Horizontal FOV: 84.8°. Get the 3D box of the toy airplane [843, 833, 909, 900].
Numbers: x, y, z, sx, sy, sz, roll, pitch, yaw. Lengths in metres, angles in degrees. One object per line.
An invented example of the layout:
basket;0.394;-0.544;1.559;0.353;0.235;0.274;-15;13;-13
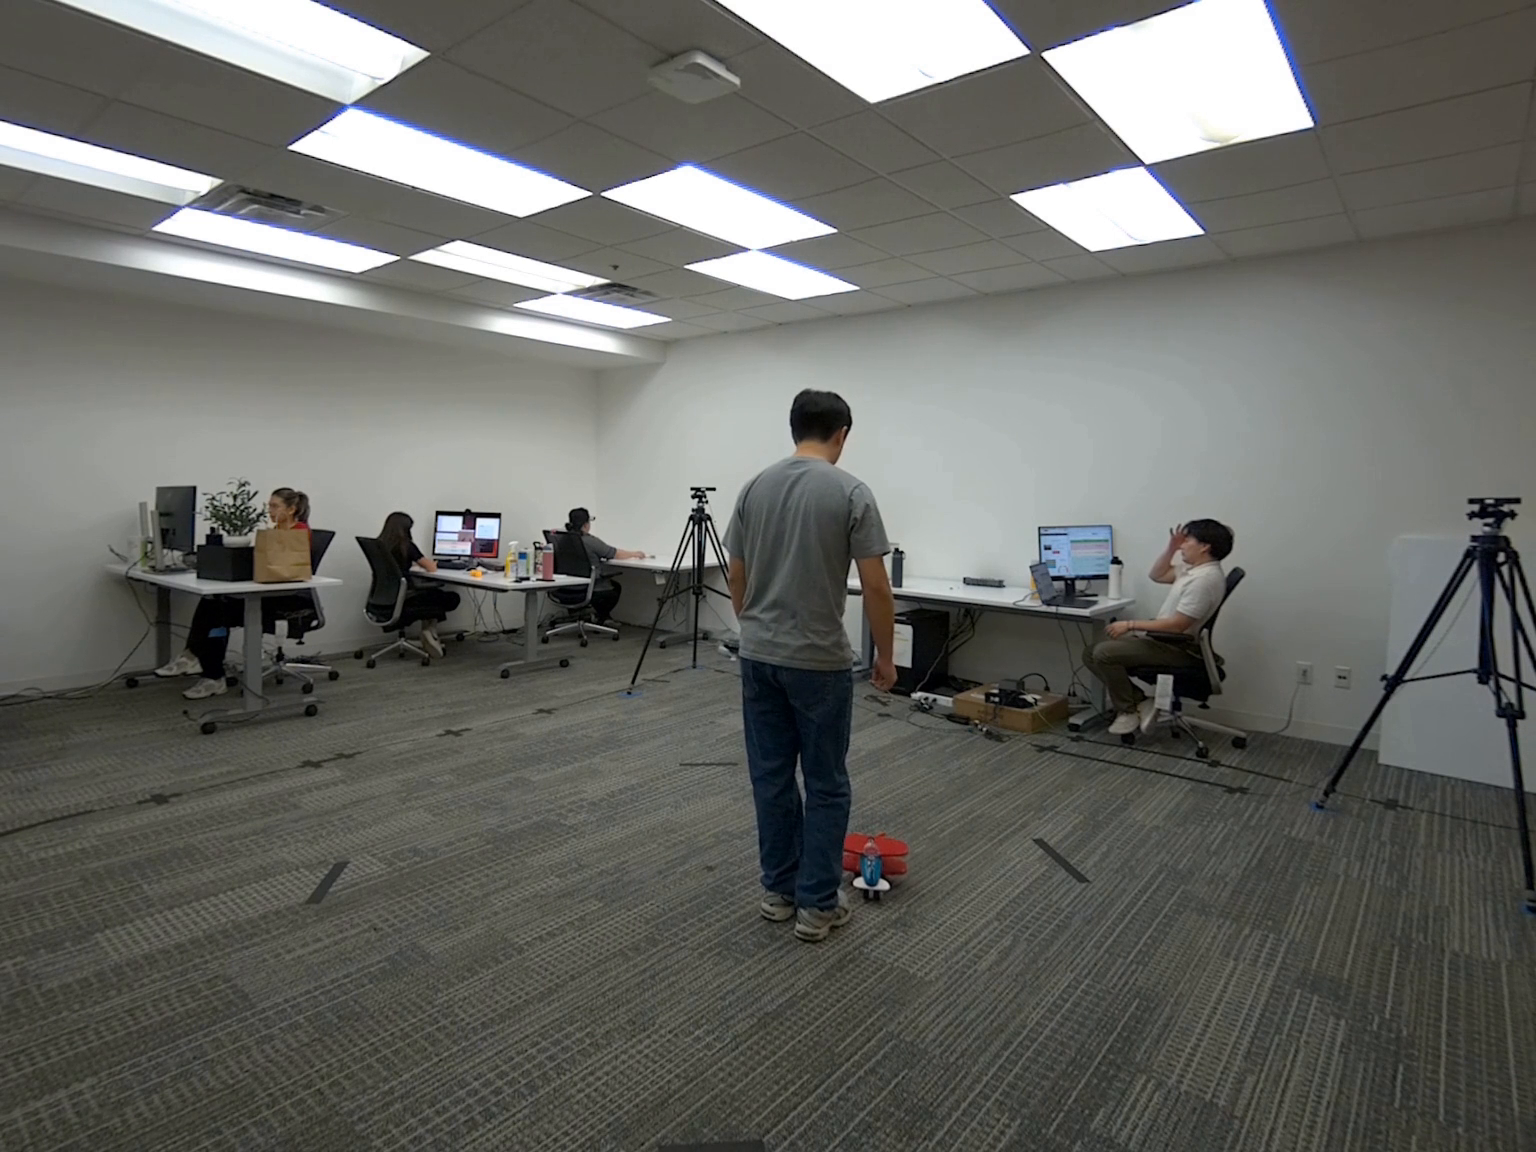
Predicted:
toy airplane;0.376;1.017;2.993;0.246;0.156;0.265;-2;5;-21
